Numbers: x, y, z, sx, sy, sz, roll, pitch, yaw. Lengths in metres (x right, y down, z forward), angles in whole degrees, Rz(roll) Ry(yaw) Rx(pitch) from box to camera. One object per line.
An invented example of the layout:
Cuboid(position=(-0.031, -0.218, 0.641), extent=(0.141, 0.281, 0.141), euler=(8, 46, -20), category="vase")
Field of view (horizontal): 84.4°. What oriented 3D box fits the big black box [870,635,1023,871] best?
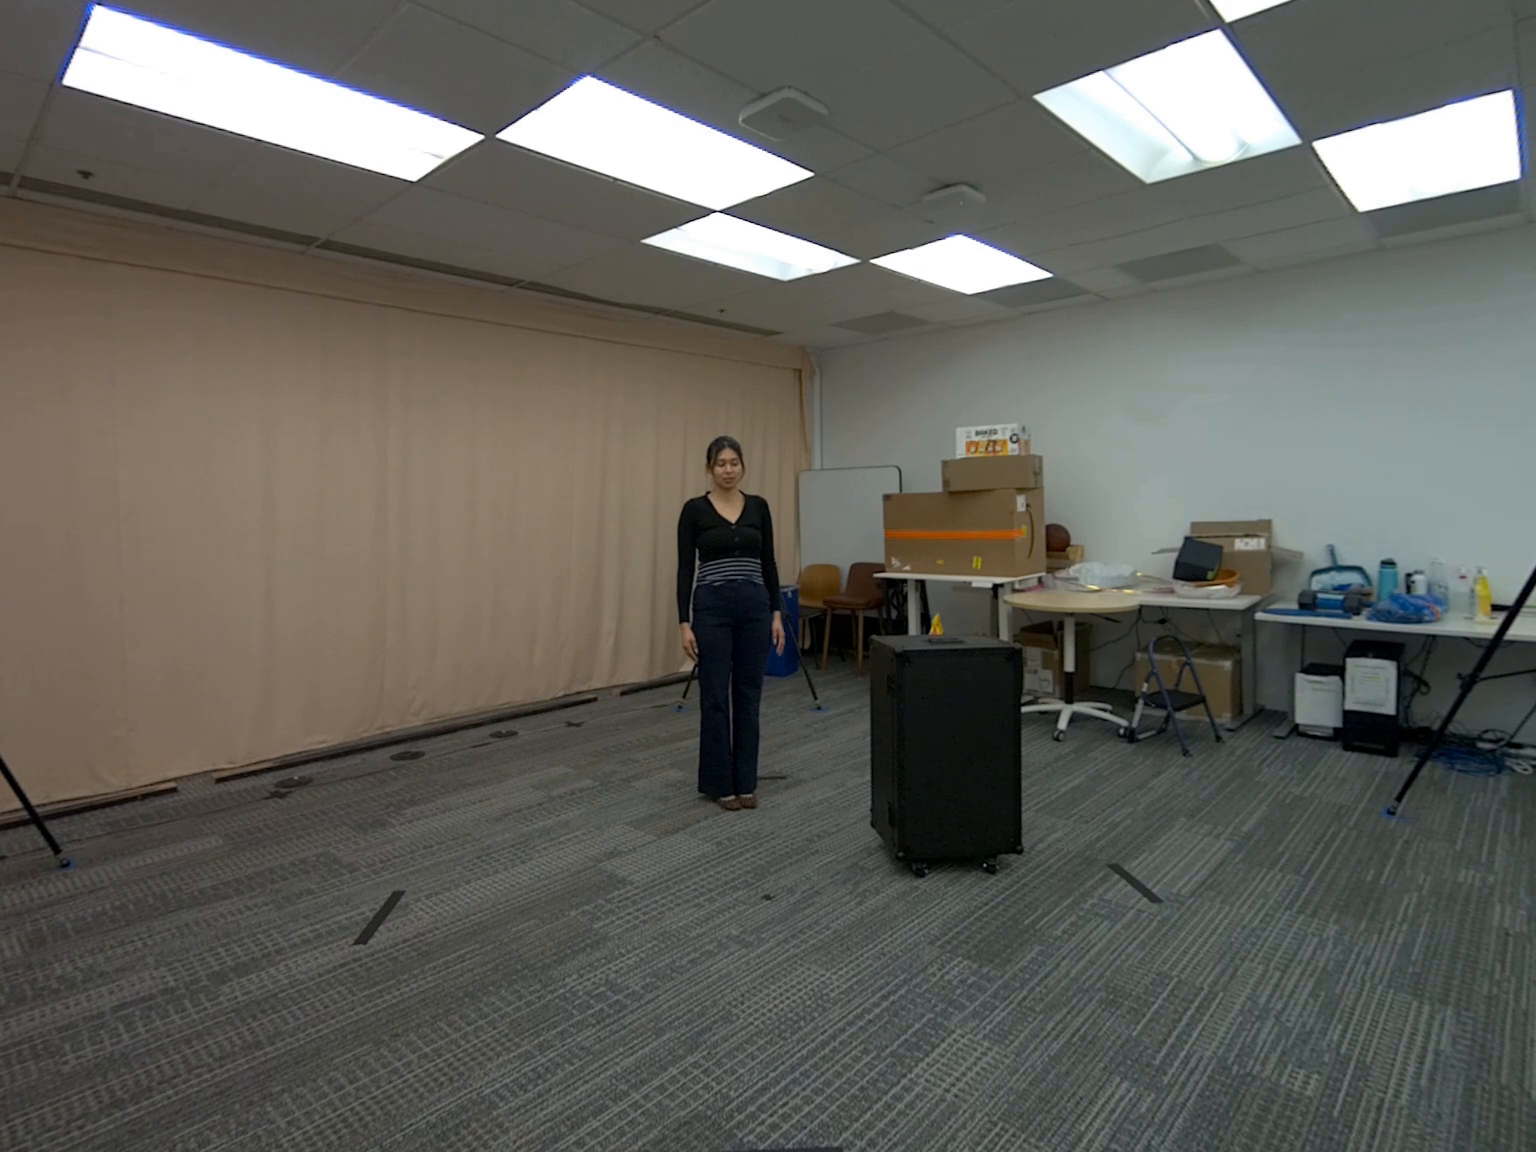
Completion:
Cuboid(position=(0.680, 0.673, 3.294), extent=(0.518, 0.860, 0.399), euler=(-1, 2, -6), category="big black box")
